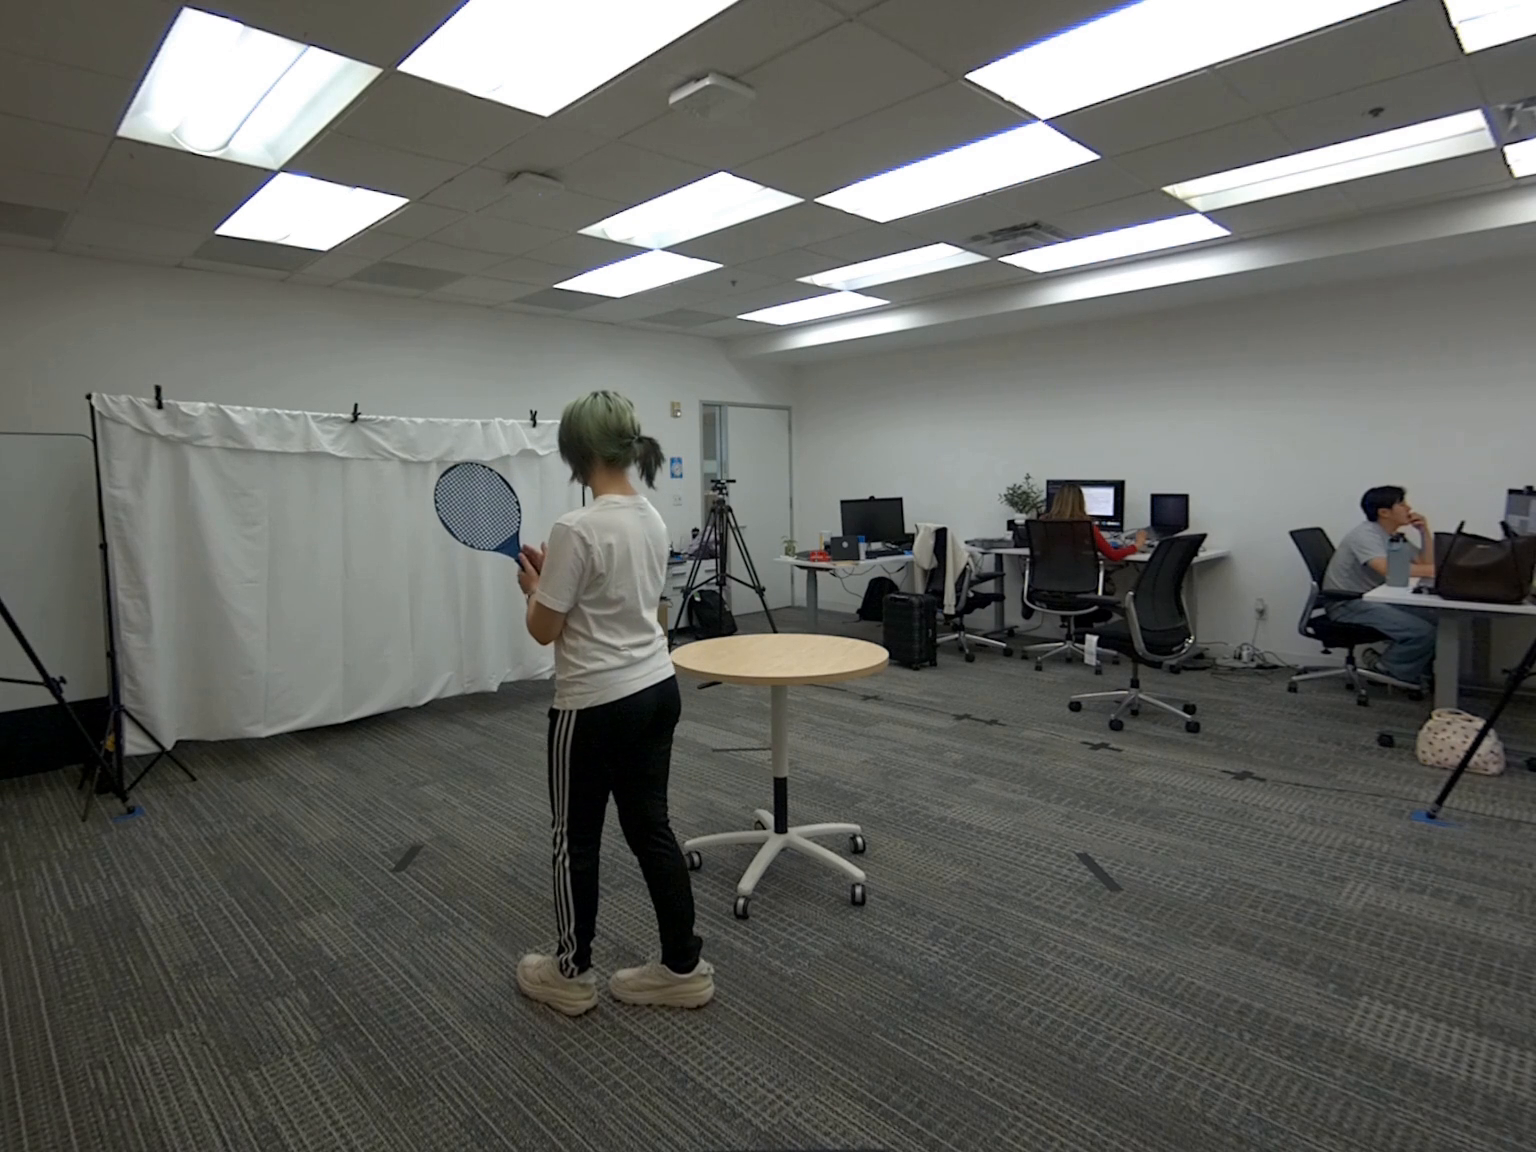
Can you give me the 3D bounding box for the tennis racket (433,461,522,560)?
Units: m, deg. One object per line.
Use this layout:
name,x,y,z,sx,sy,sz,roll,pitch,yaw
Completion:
tennis racket,-0.756,-0.135,2.404,0.213,0.429,0.032,-38,6,-12
